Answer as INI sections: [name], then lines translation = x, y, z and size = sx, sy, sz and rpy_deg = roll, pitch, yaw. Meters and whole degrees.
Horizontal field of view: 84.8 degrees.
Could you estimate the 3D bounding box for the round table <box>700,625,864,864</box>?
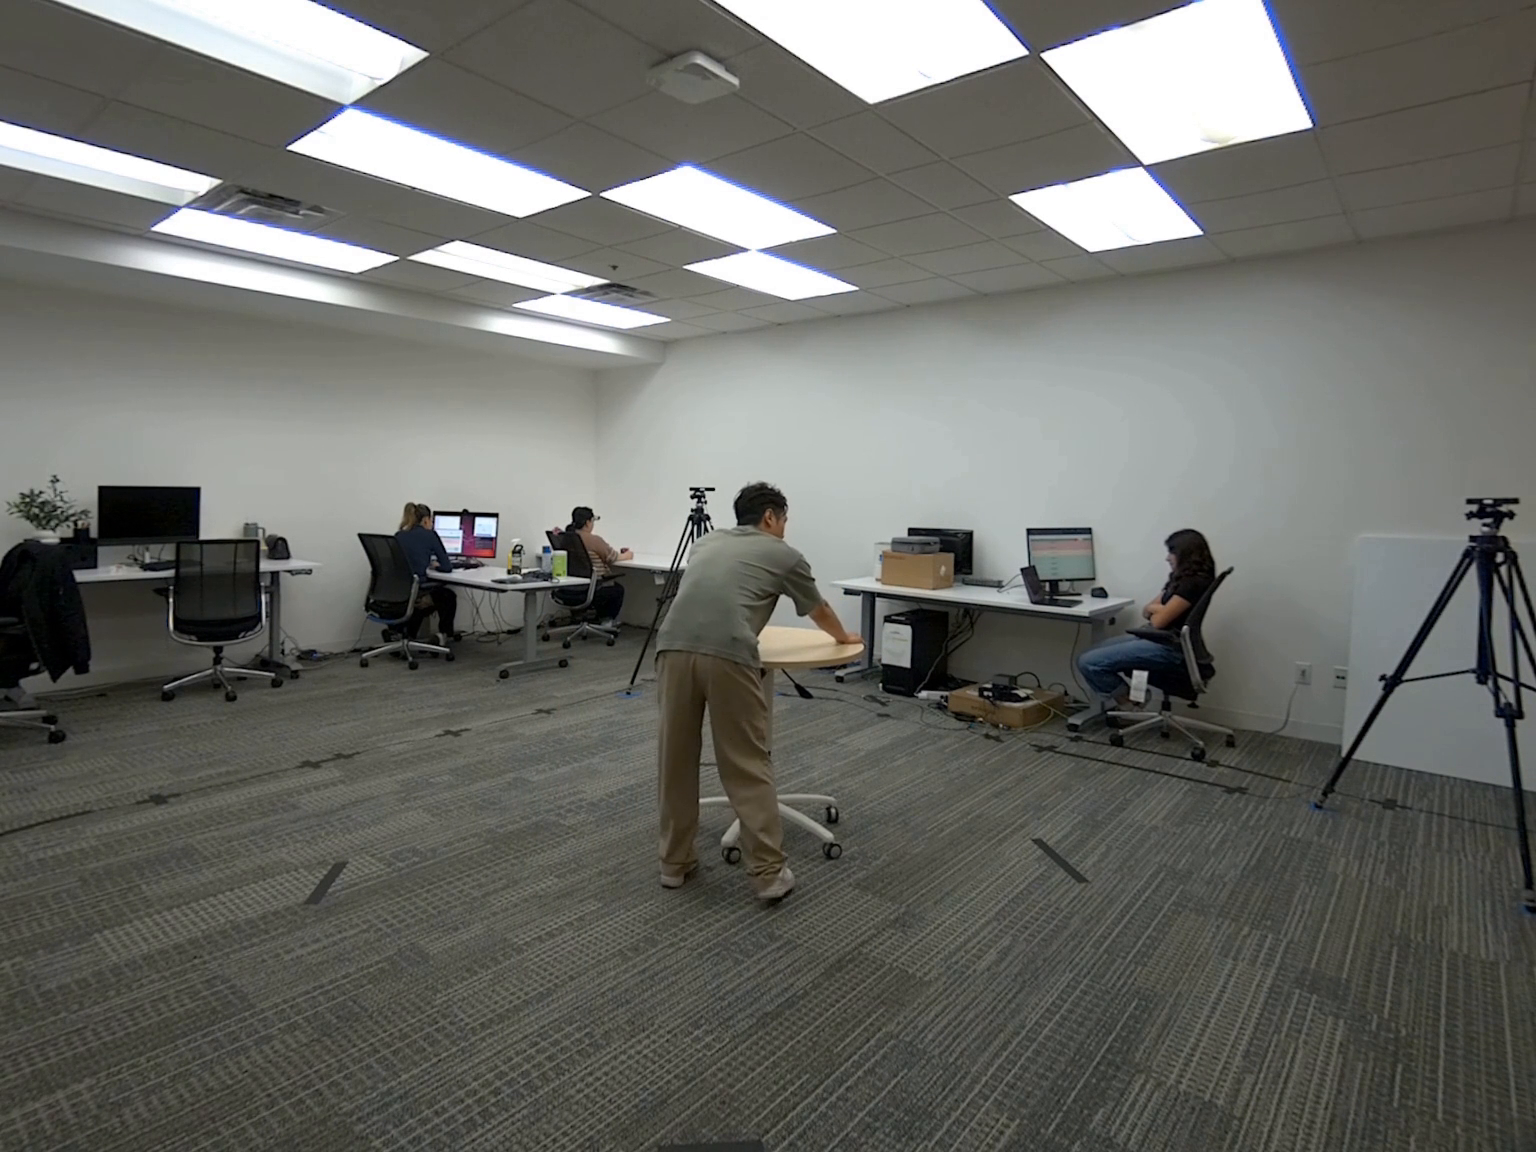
[round table]
translation = -0.028, 0.646, 3.442
size = 0.784, 0.784, 0.789
rpy_deg = 1, 4, -2
